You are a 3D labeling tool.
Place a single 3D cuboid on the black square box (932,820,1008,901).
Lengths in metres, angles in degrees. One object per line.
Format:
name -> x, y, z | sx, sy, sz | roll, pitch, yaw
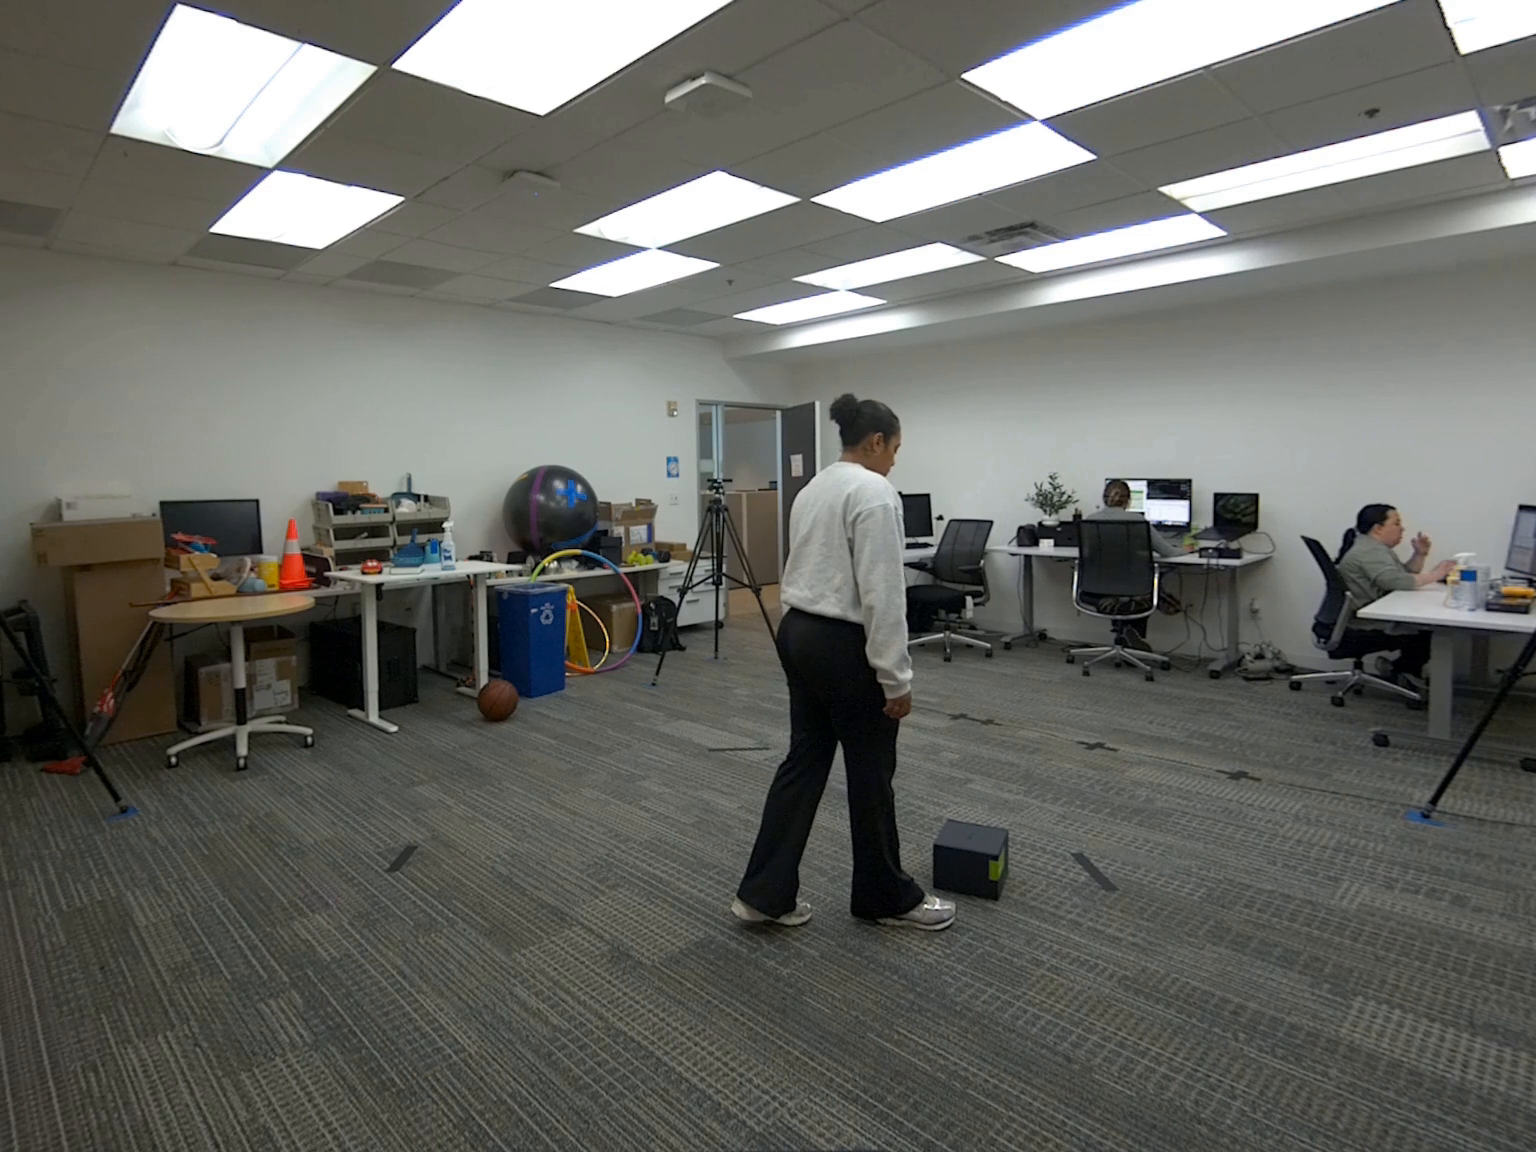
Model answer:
black square box -> 0.706, 0.969, 2.938 | 0.222, 0.155, 0.224 | 2, 6, 25
